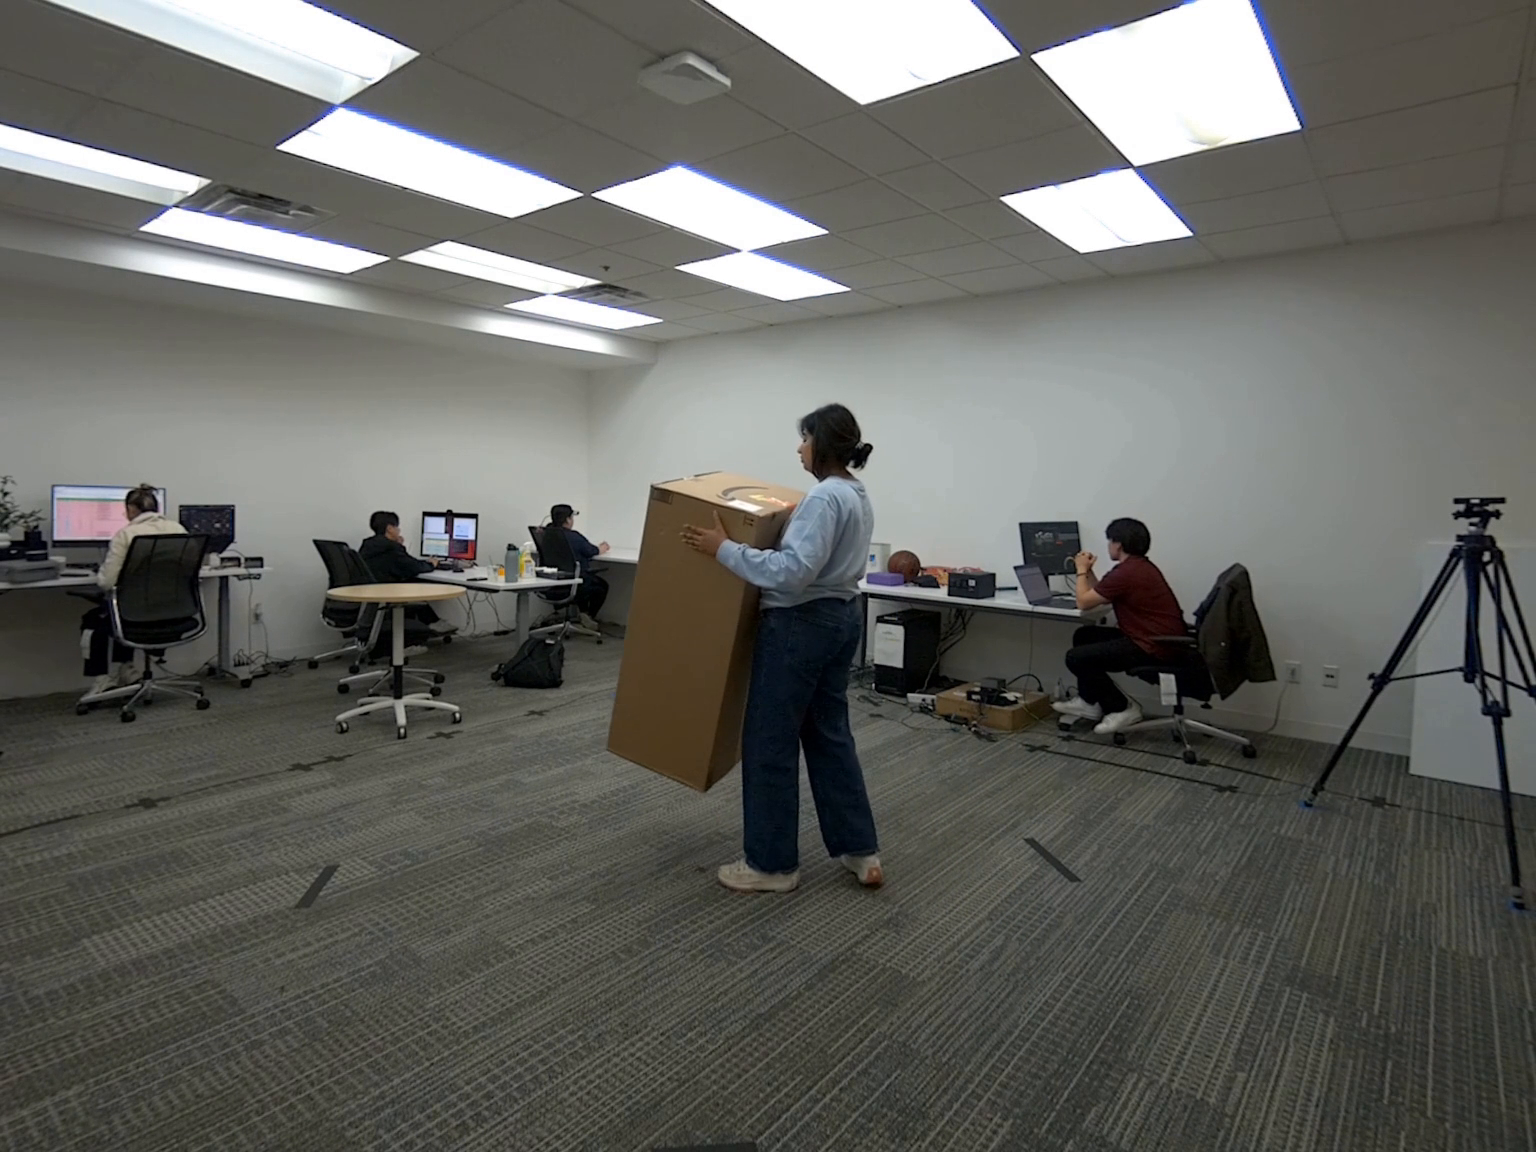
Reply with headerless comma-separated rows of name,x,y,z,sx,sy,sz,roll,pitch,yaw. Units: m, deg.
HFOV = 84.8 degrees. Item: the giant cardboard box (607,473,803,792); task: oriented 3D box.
giant cardboard box,-0.215,0.174,3.199,0.460,1.016,0.574,18,16,22
